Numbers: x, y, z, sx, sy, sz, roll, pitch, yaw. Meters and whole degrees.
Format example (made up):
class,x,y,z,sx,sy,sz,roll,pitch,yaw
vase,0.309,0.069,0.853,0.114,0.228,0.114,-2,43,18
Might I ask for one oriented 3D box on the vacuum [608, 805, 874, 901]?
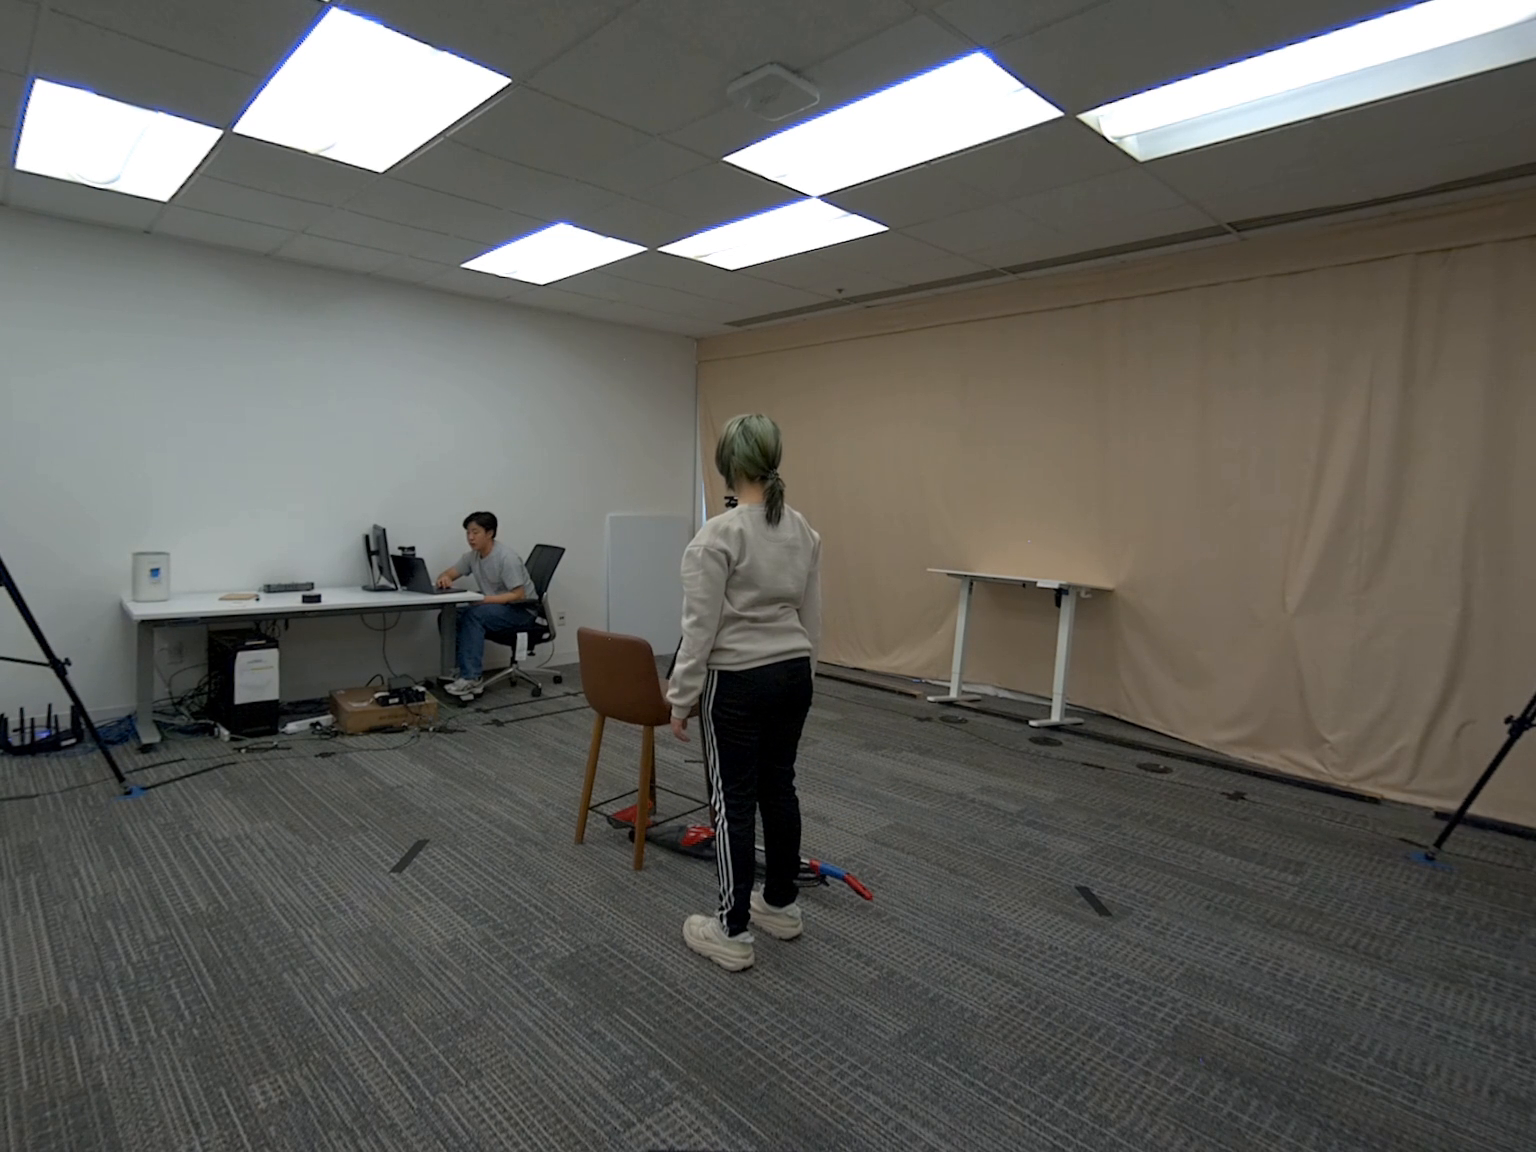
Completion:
class,x,y,z,sx,sy,sz,roll,pitch,yaw
vacuum,-0.106,1.054,3.143,1.075,0.143,0.247,6,8,35
